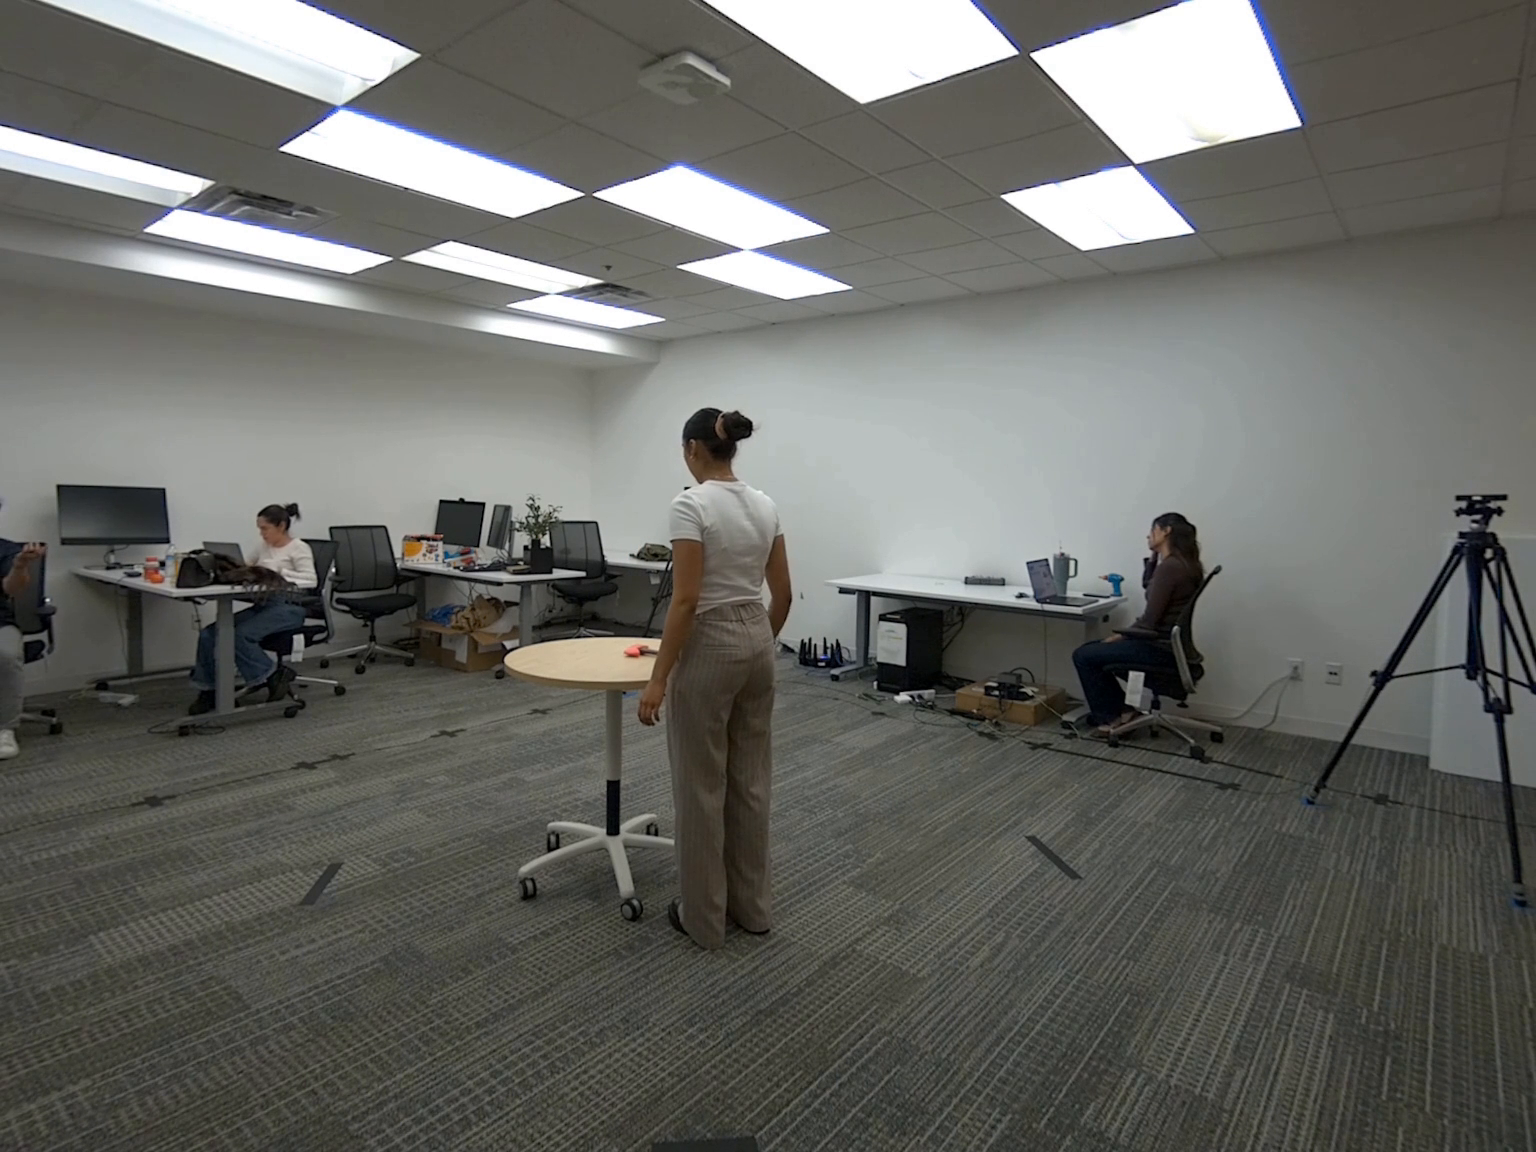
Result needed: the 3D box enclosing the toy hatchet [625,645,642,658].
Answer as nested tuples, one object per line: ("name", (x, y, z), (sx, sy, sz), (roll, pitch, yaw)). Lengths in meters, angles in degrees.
("toy hatchet", (-0.408, 0.275, 3.009), (0.127, 0.029, 0.279), (-4, 9, -41))
